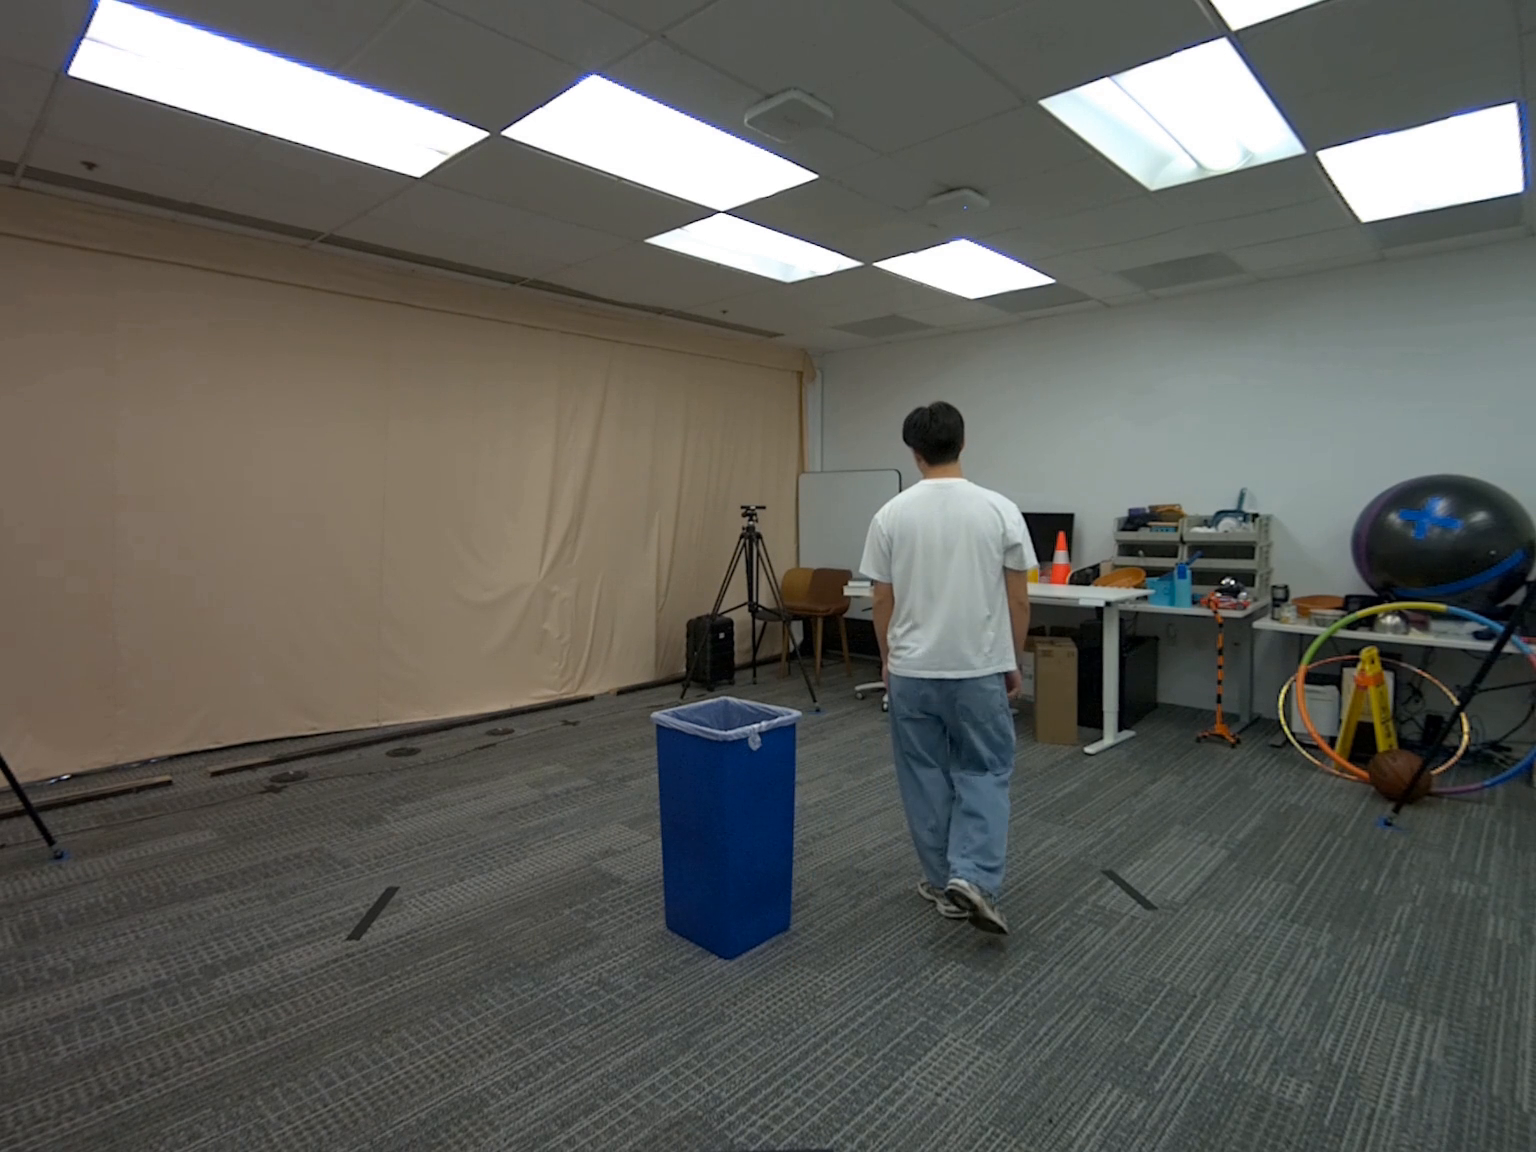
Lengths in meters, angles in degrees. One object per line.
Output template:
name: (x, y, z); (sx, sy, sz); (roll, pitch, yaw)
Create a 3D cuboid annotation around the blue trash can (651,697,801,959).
blue trash can: (-0.140, 0.806, 2.770); (0.386, 0.712, 0.366); (3, 4, 44)
